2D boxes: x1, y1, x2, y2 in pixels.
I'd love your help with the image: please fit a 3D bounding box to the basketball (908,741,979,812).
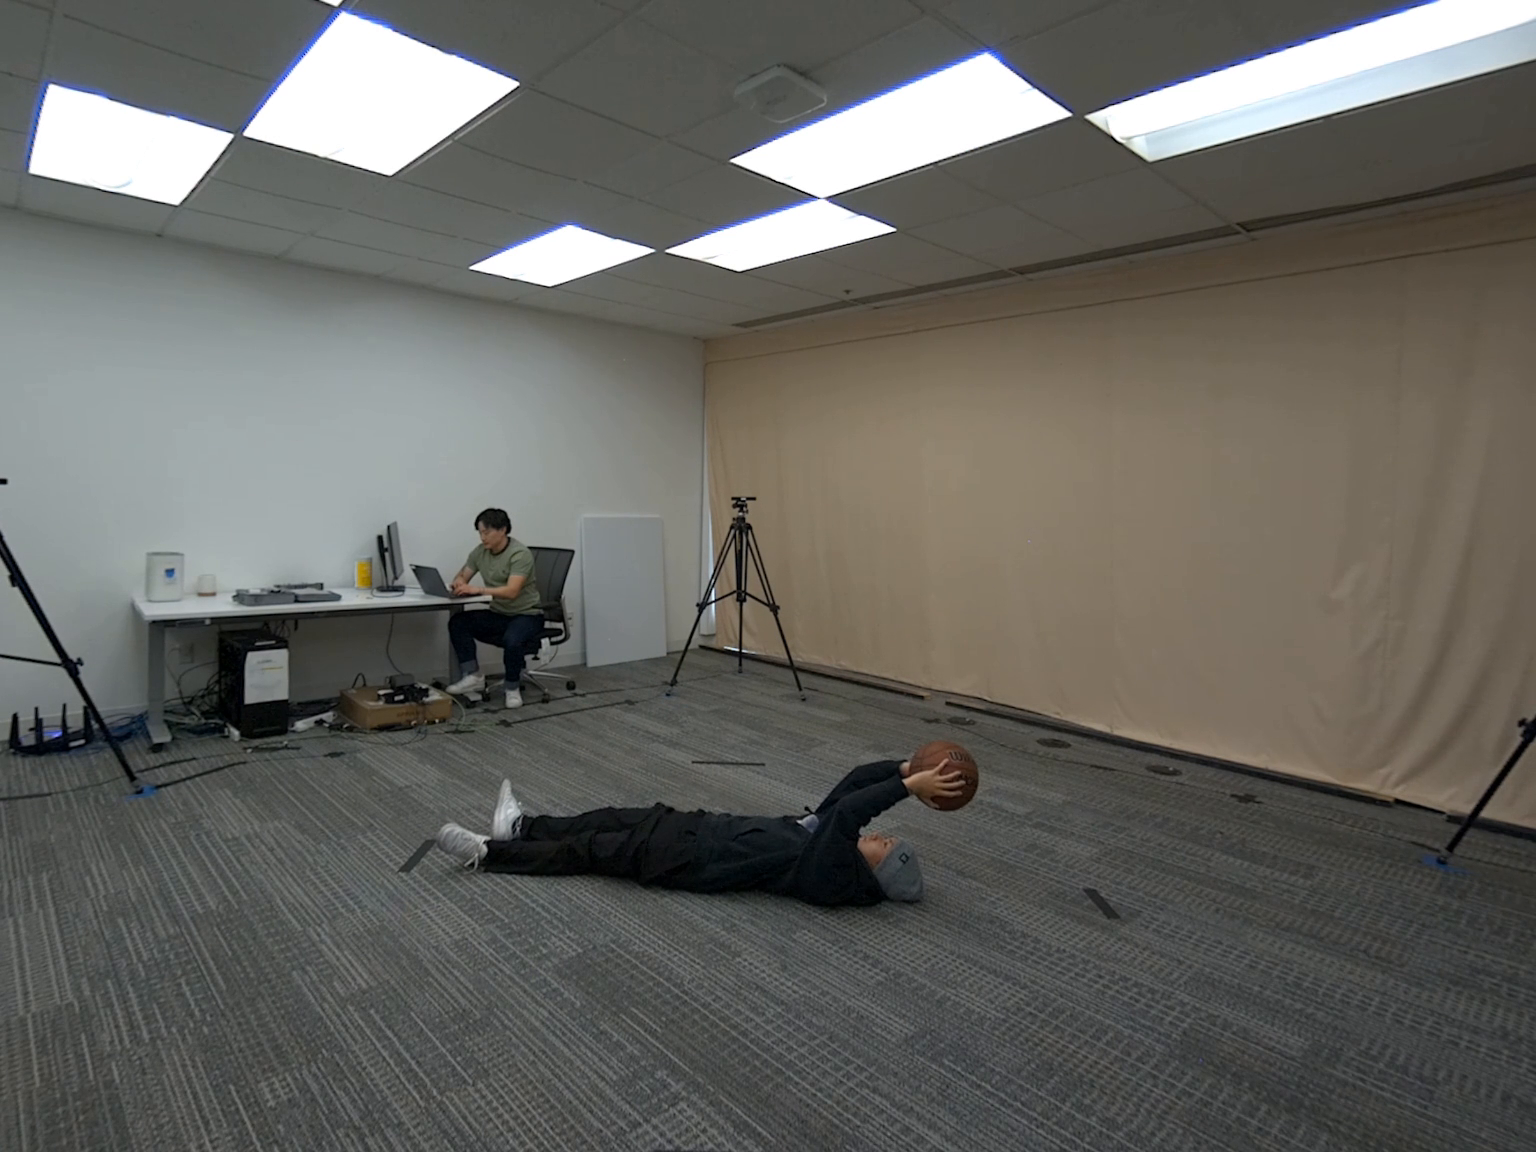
[{"bbox_3d":[0.607,0.696,2.938,0.236,0.235,0.237,1,4,-1],"label":"basketball"}]
